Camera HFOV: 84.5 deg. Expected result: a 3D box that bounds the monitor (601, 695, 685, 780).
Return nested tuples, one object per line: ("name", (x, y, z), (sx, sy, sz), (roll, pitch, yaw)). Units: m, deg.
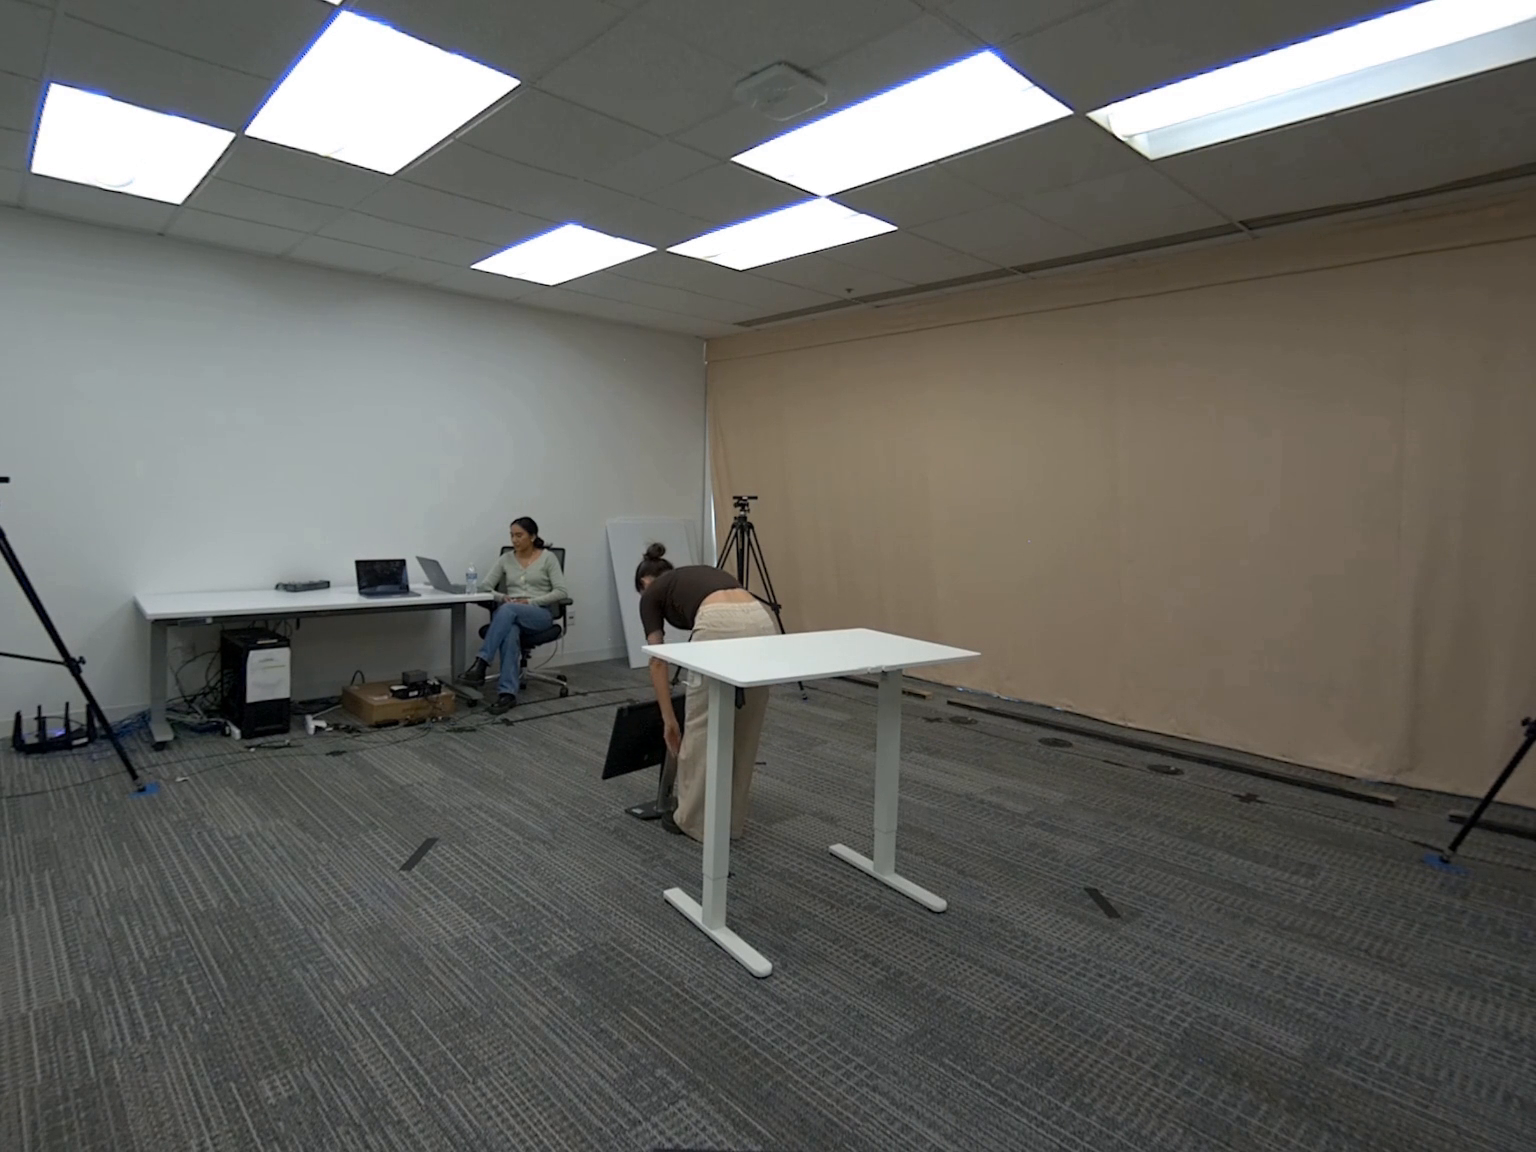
("monitor", (-0.471, 0.786, 3.714), (0.192, 0.520, 0.527), (8, 8, 41))
